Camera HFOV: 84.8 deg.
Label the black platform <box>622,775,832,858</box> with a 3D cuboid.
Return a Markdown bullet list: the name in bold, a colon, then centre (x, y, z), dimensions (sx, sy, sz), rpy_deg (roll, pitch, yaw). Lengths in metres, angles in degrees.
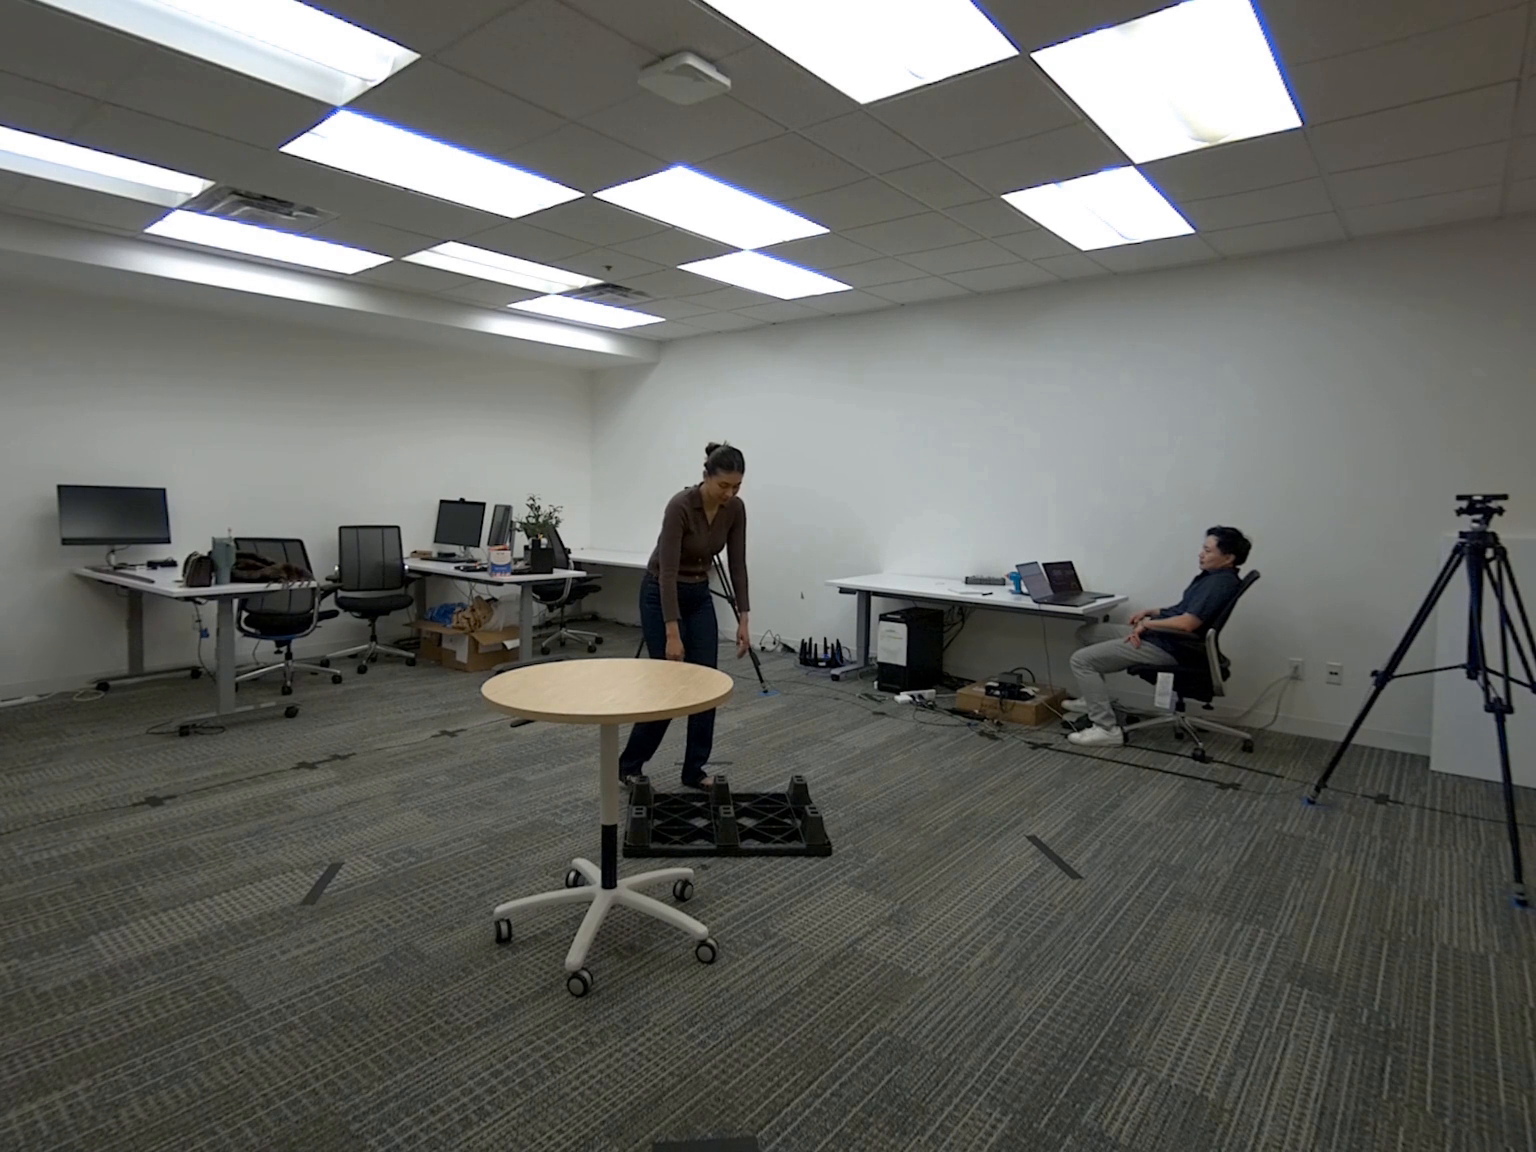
- **black platform**: centre (-0.187, 0.959, 3.500), dimensions (0.802, 0.143, 0.611), rpy_deg (0, 6, -5)
